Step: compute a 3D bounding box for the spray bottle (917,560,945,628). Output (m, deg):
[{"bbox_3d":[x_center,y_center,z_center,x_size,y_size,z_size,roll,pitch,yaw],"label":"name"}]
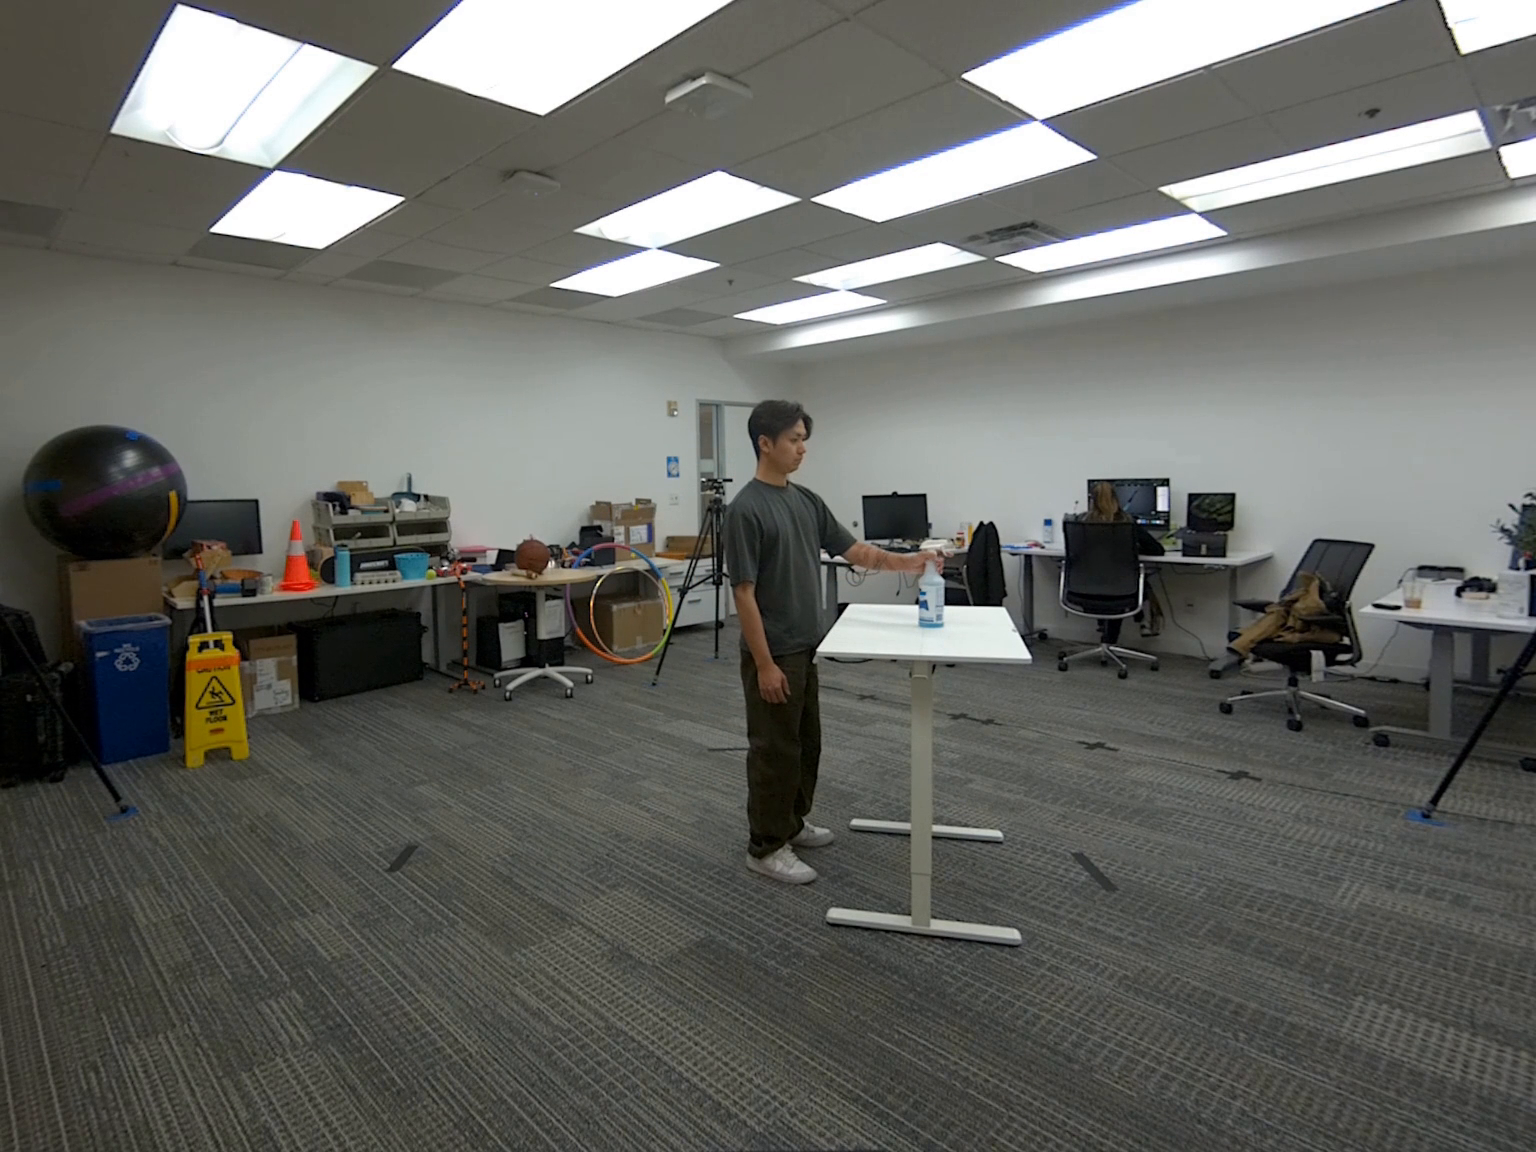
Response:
[{"bbox_3d":[0.560,0.028,2.919,0.092,0.296,0.085,4,7,32],"label":"spray bottle"}]
